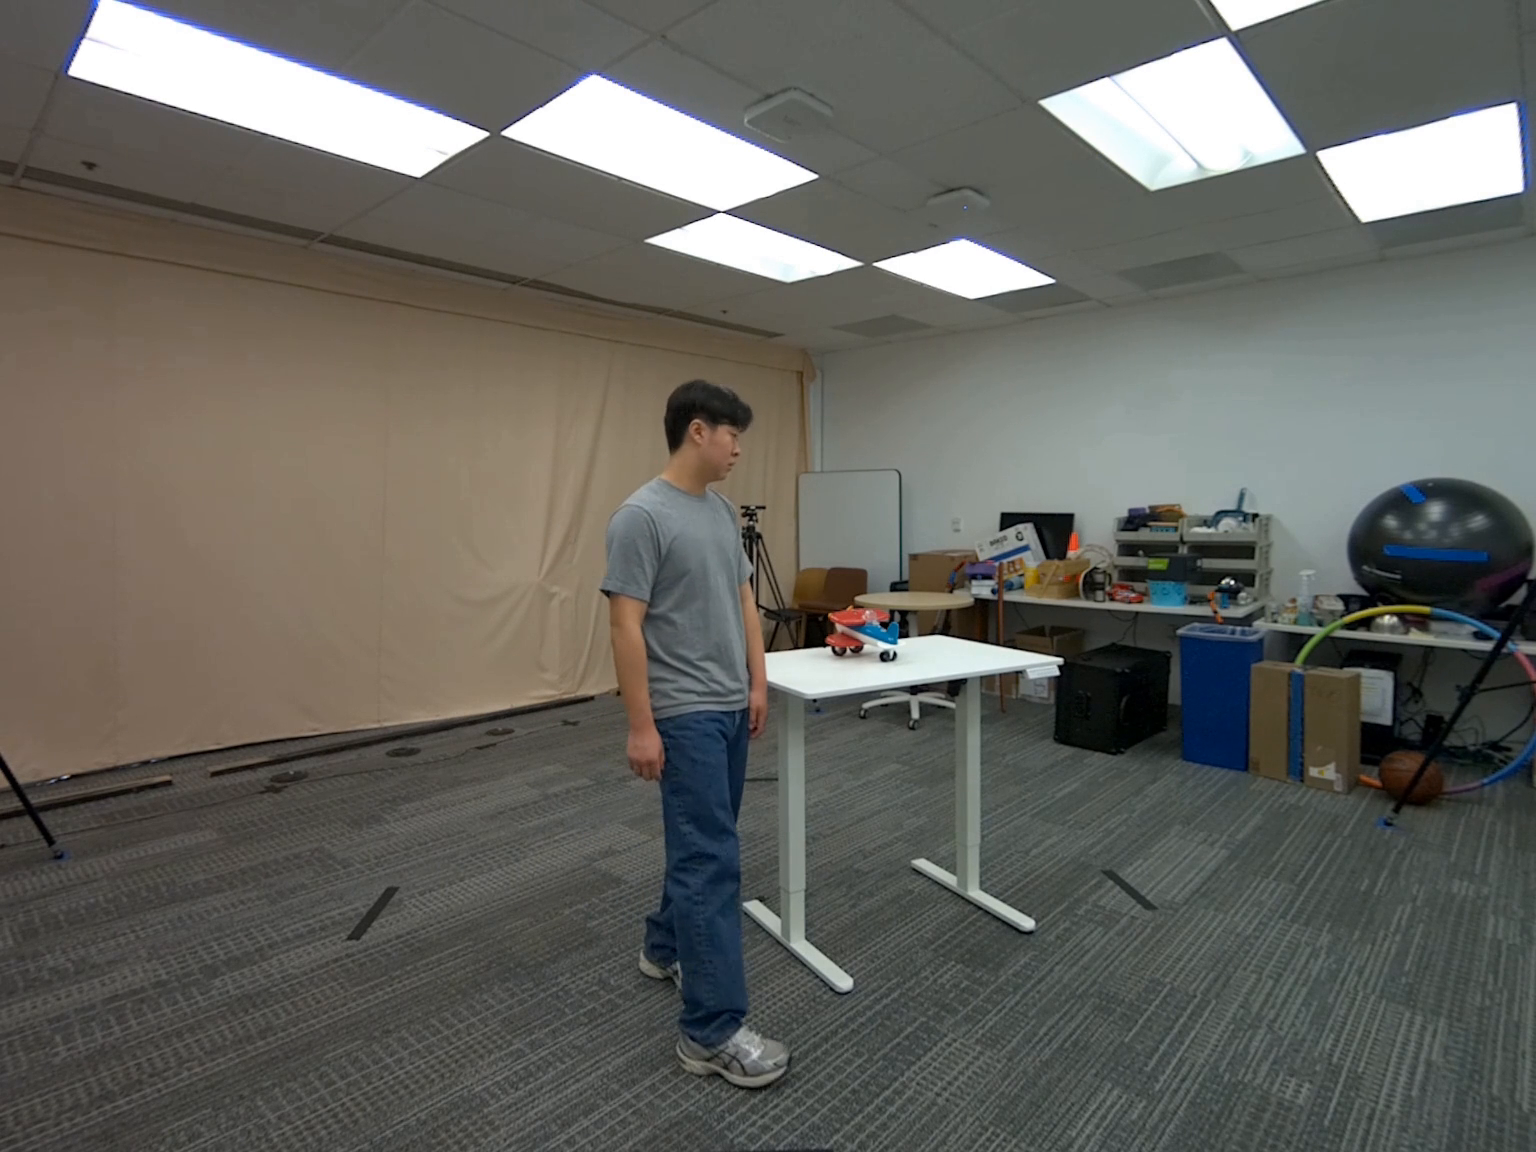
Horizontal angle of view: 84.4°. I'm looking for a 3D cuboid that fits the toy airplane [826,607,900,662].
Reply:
[{"bbox_3d":[0.344,0.195,2.826,0.265,0.156,0.246,0,5,21],"label":"toy airplane"}]
